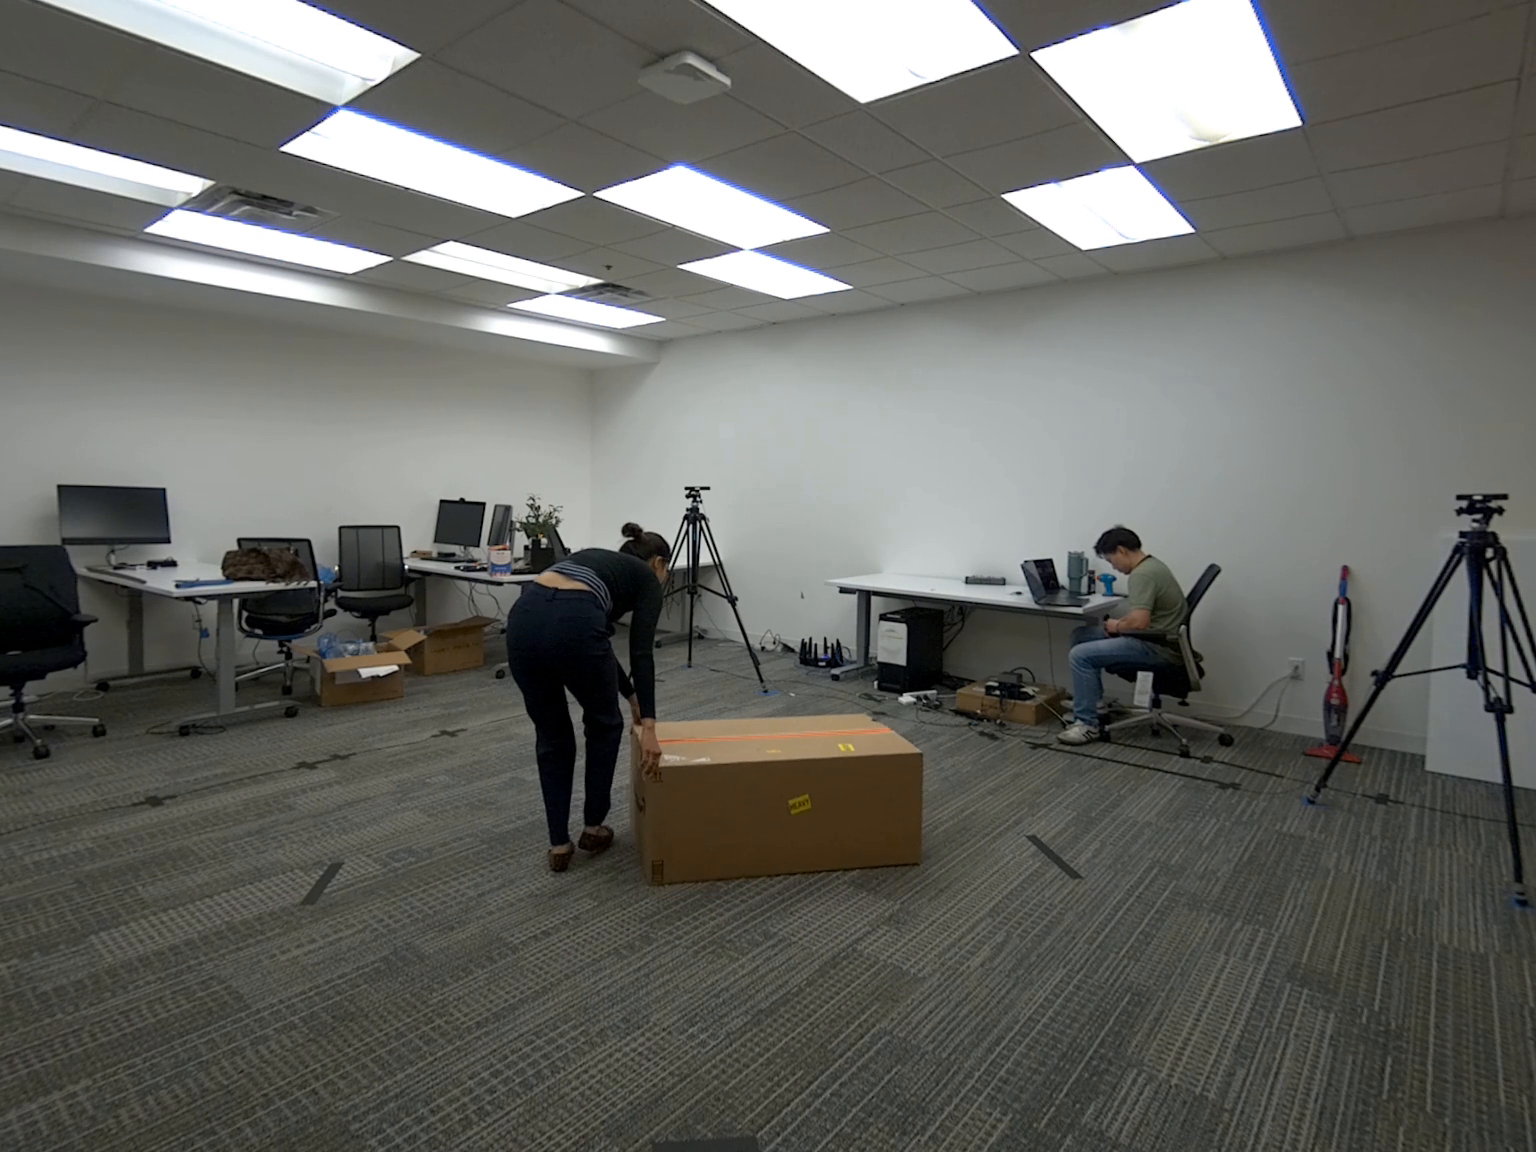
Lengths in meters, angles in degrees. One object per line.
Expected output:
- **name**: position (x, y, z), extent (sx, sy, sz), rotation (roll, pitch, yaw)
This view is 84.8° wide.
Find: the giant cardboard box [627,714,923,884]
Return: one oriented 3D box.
- **giant cardboard box**: position (-0.004, 0.830, 3.331), extent (1.012, 0.424, 0.588), rotation (0, 5, -13)
